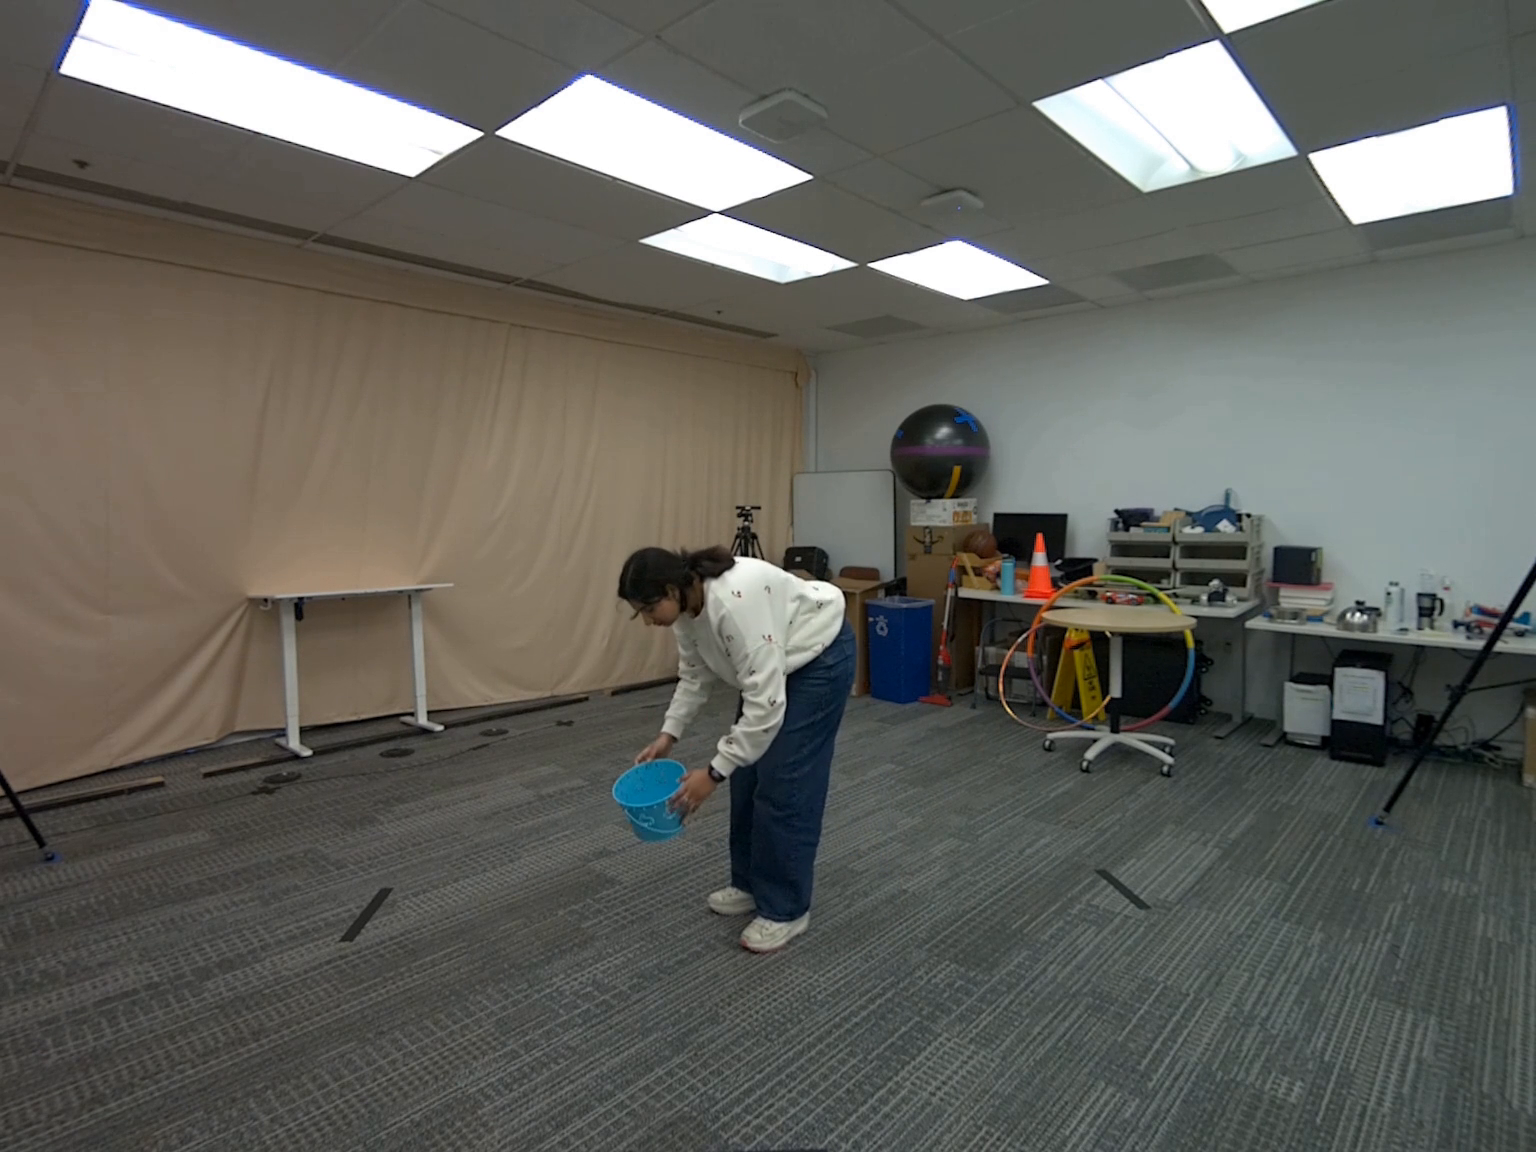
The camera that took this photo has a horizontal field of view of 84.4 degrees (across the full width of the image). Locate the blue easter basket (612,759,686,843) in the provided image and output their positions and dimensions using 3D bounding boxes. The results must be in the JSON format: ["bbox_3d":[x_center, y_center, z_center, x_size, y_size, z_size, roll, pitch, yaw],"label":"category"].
[{"bbox_3d":[-0.340,0.698,2.574,0.244,0.154,0.246,-10,17,1],"label":"blue easter basket"}]
